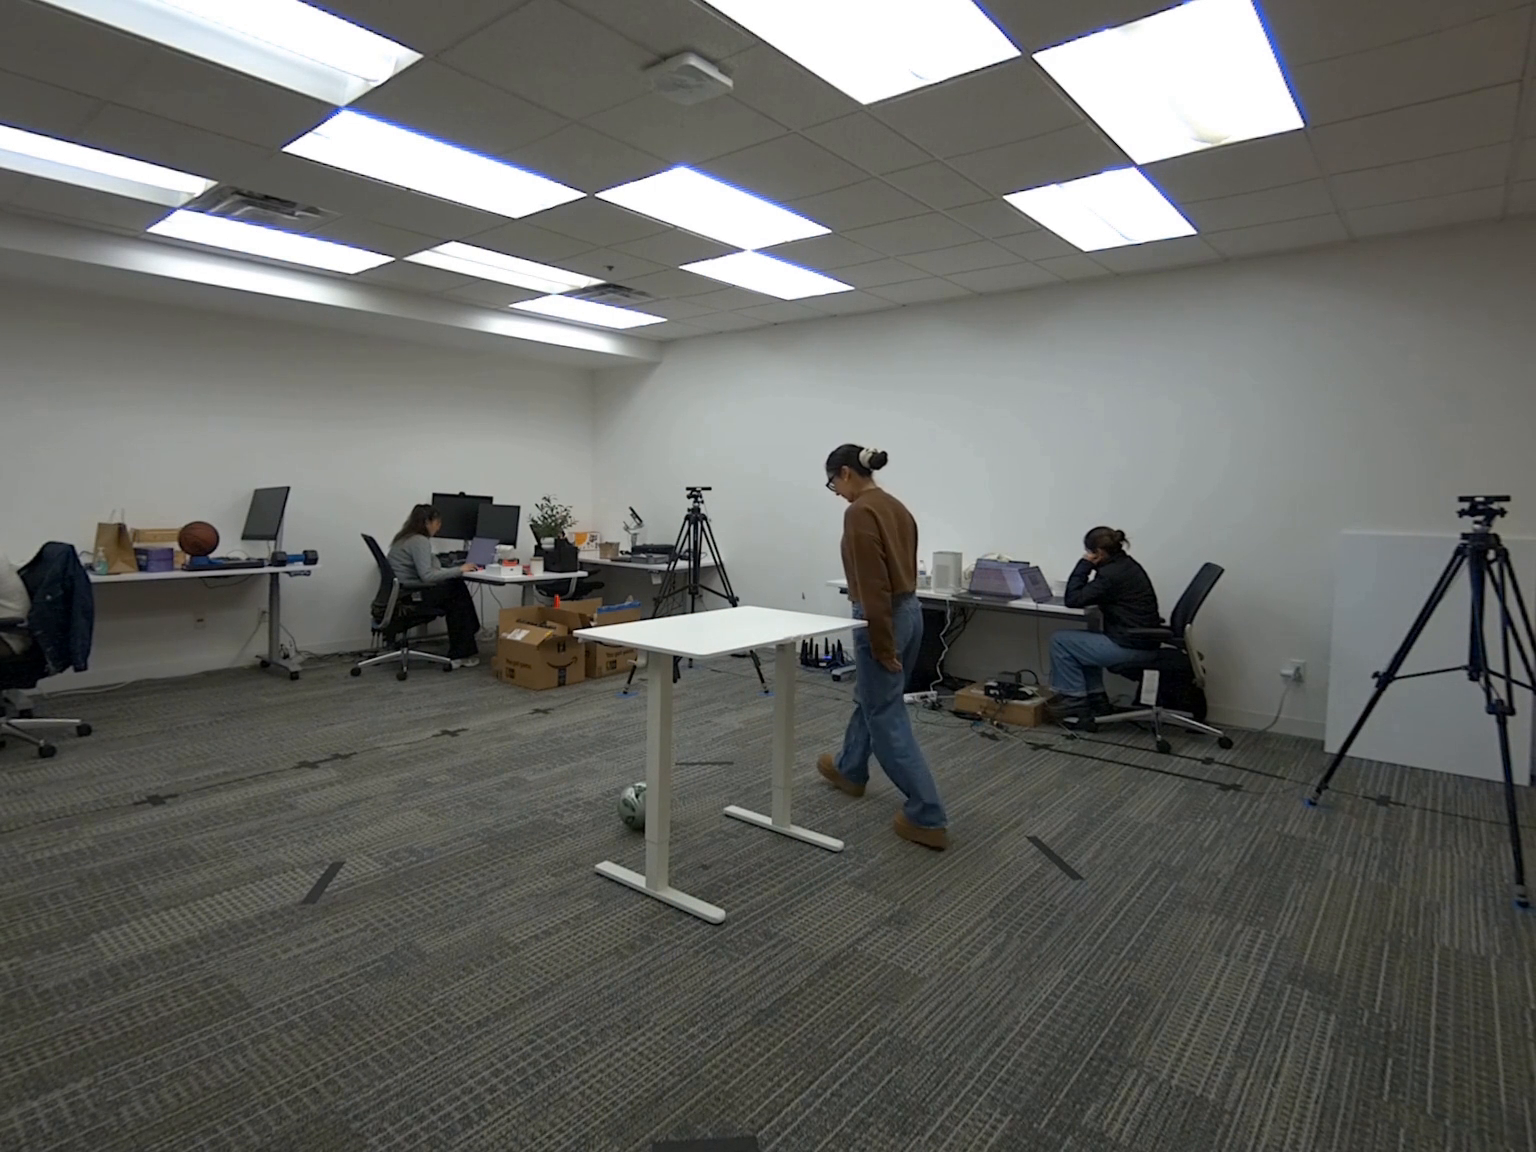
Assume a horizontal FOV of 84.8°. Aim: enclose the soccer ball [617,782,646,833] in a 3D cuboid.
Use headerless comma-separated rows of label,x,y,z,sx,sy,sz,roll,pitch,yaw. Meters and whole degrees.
soccer ball,-0.539,0.932,3.477,0.187,0.187,0.188,1,4,-2
